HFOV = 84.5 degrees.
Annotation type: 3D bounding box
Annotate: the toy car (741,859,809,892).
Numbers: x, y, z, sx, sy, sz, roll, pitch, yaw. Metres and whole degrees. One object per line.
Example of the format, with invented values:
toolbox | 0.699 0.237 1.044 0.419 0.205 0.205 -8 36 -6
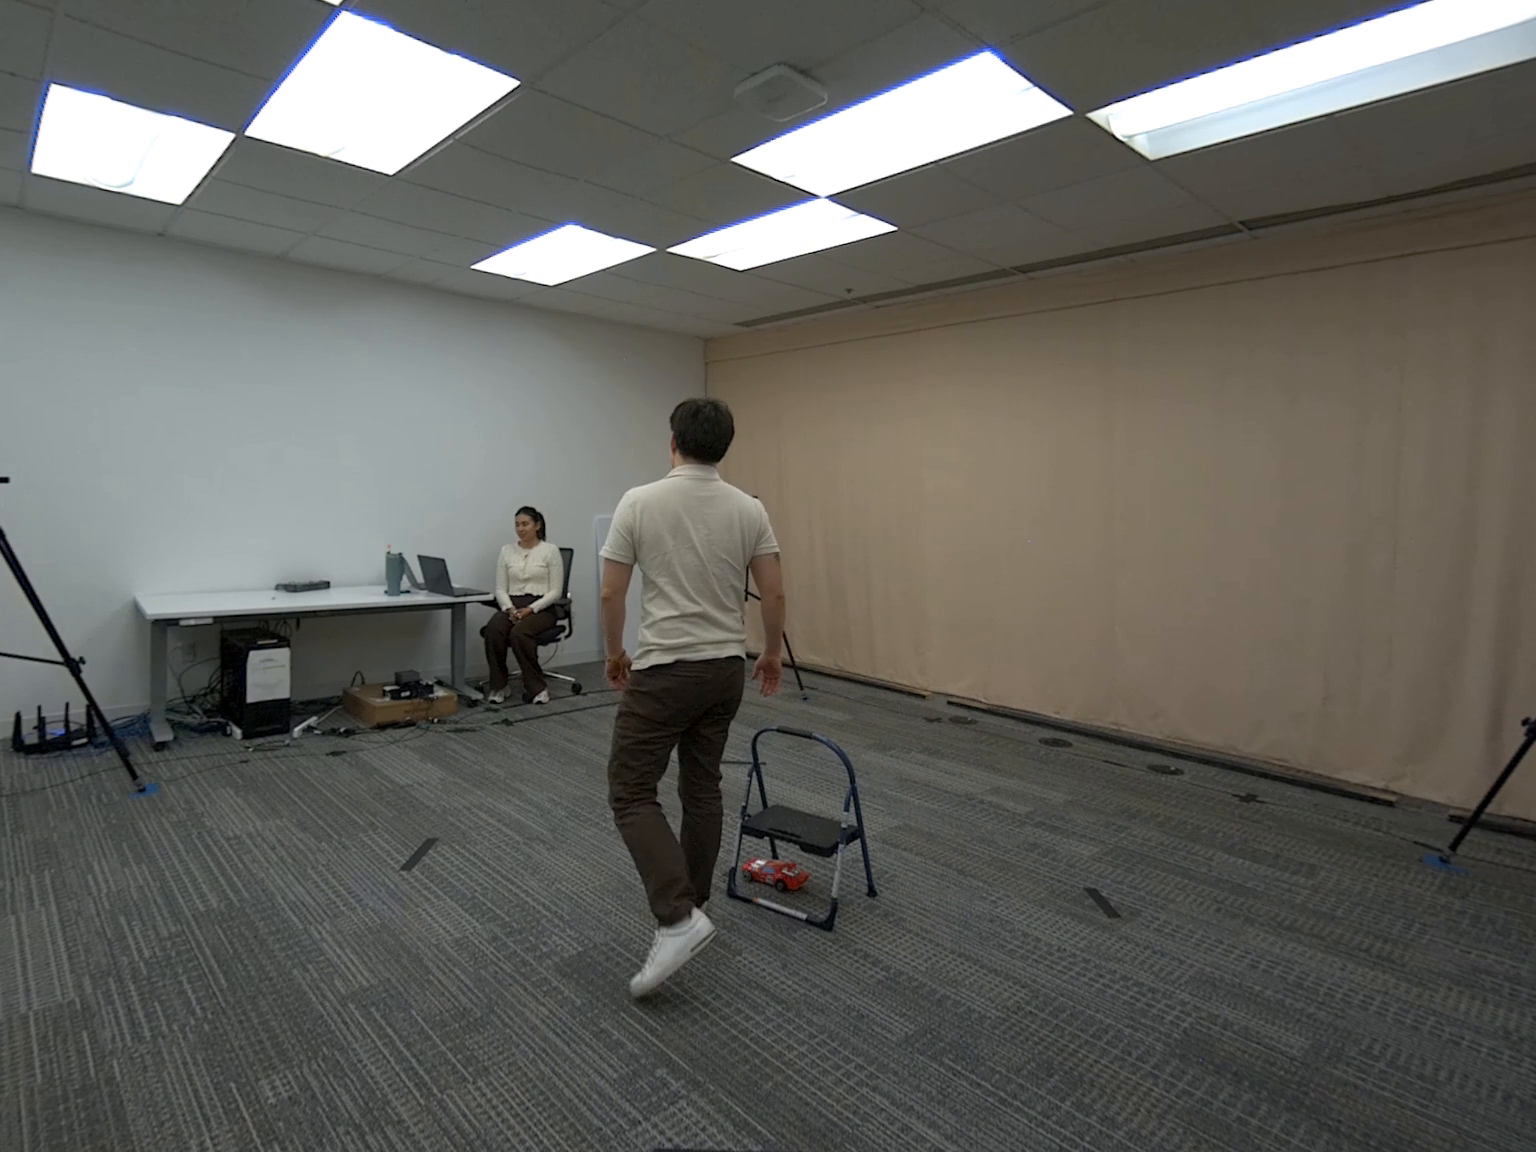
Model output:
toy car | 0.026 1.082 3.044 0.259 0.083 0.127 -9 -2 34
